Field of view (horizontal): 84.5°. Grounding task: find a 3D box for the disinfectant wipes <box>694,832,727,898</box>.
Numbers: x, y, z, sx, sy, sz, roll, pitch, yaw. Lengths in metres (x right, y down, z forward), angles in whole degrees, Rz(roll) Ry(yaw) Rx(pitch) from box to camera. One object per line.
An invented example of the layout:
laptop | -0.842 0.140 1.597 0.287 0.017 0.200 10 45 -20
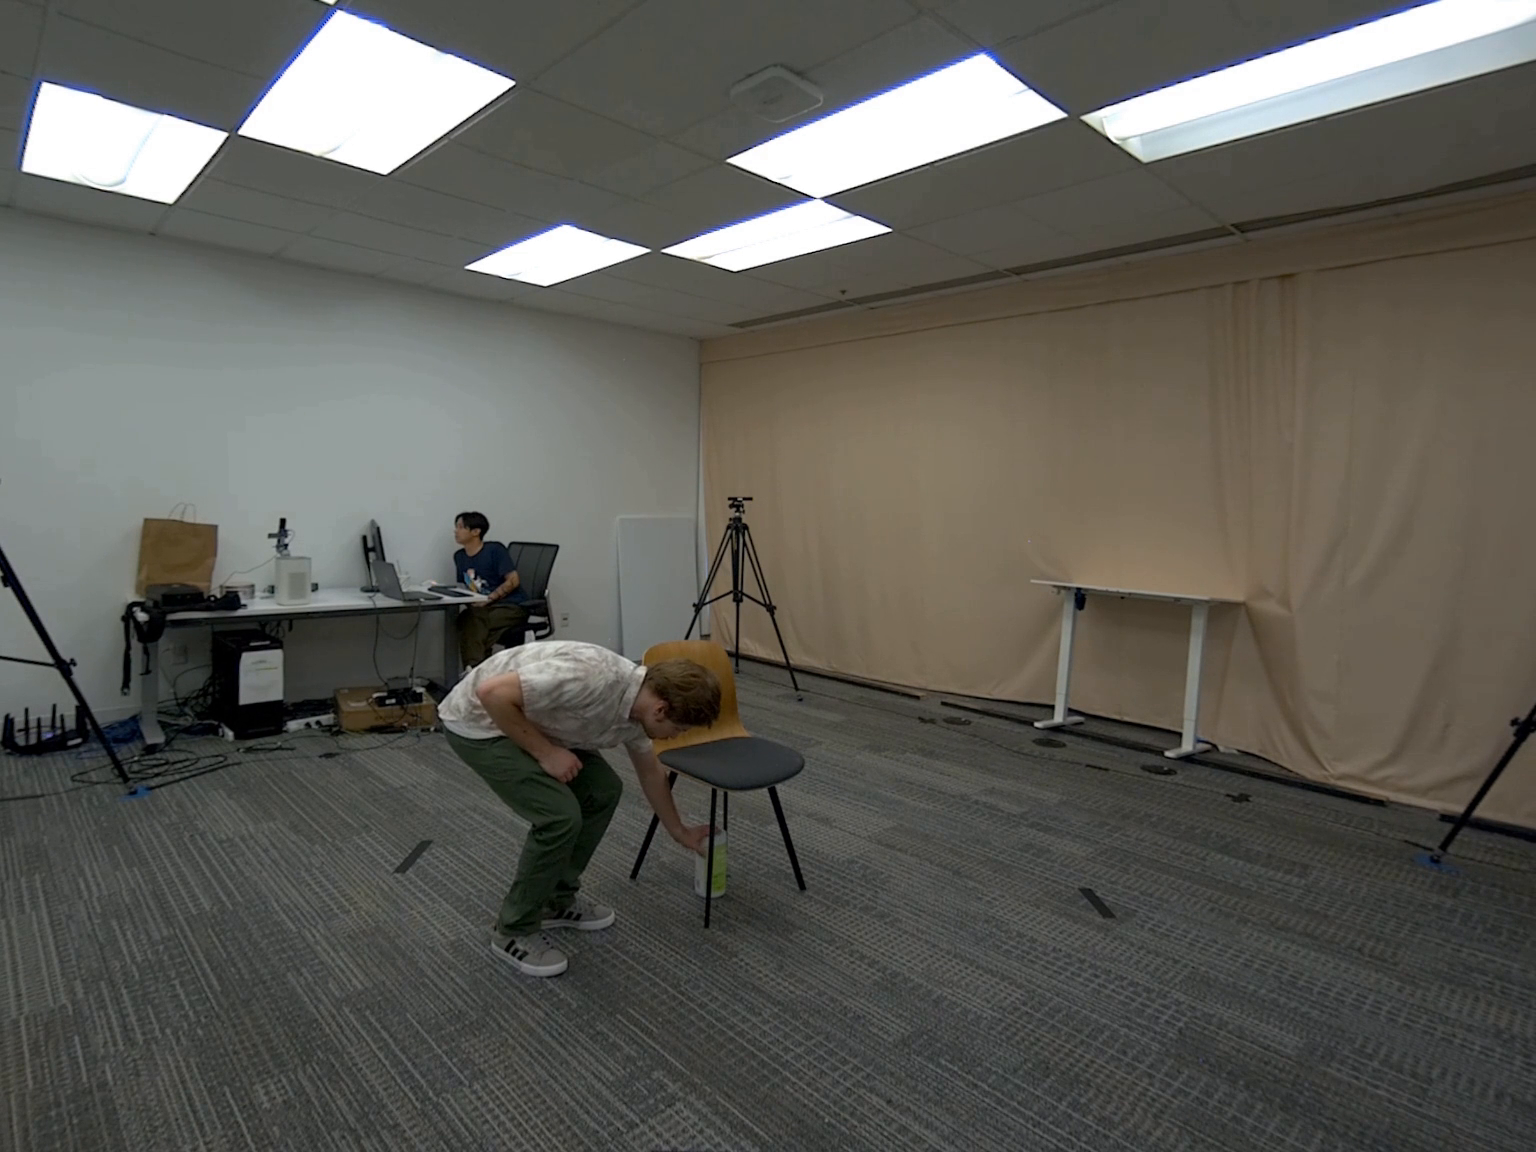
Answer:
disinfectant wipes | -0.220 1.026 2.961 0.118 0.217 0.118 0 2 -1
